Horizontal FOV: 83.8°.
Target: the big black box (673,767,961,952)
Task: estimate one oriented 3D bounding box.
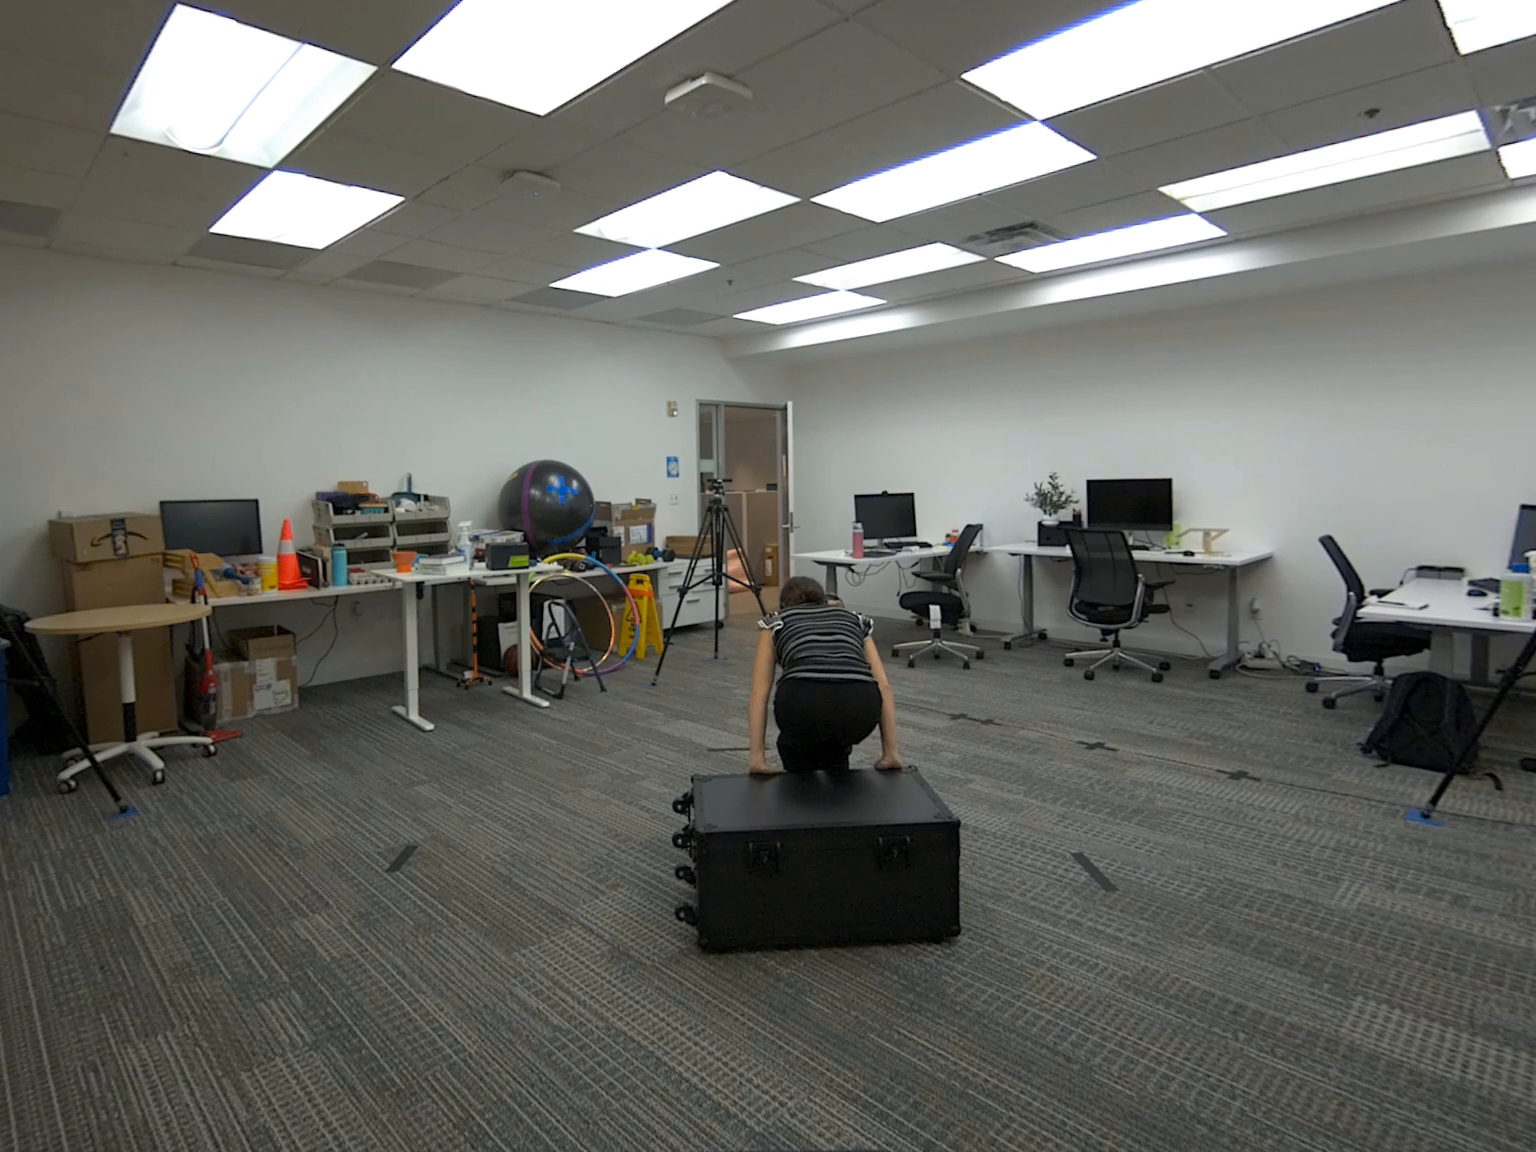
[{"bbox_3d":[0.124,0.890,2.750,0.858,0.395,0.526,-1,5,-5],"label":"big black box"}]
